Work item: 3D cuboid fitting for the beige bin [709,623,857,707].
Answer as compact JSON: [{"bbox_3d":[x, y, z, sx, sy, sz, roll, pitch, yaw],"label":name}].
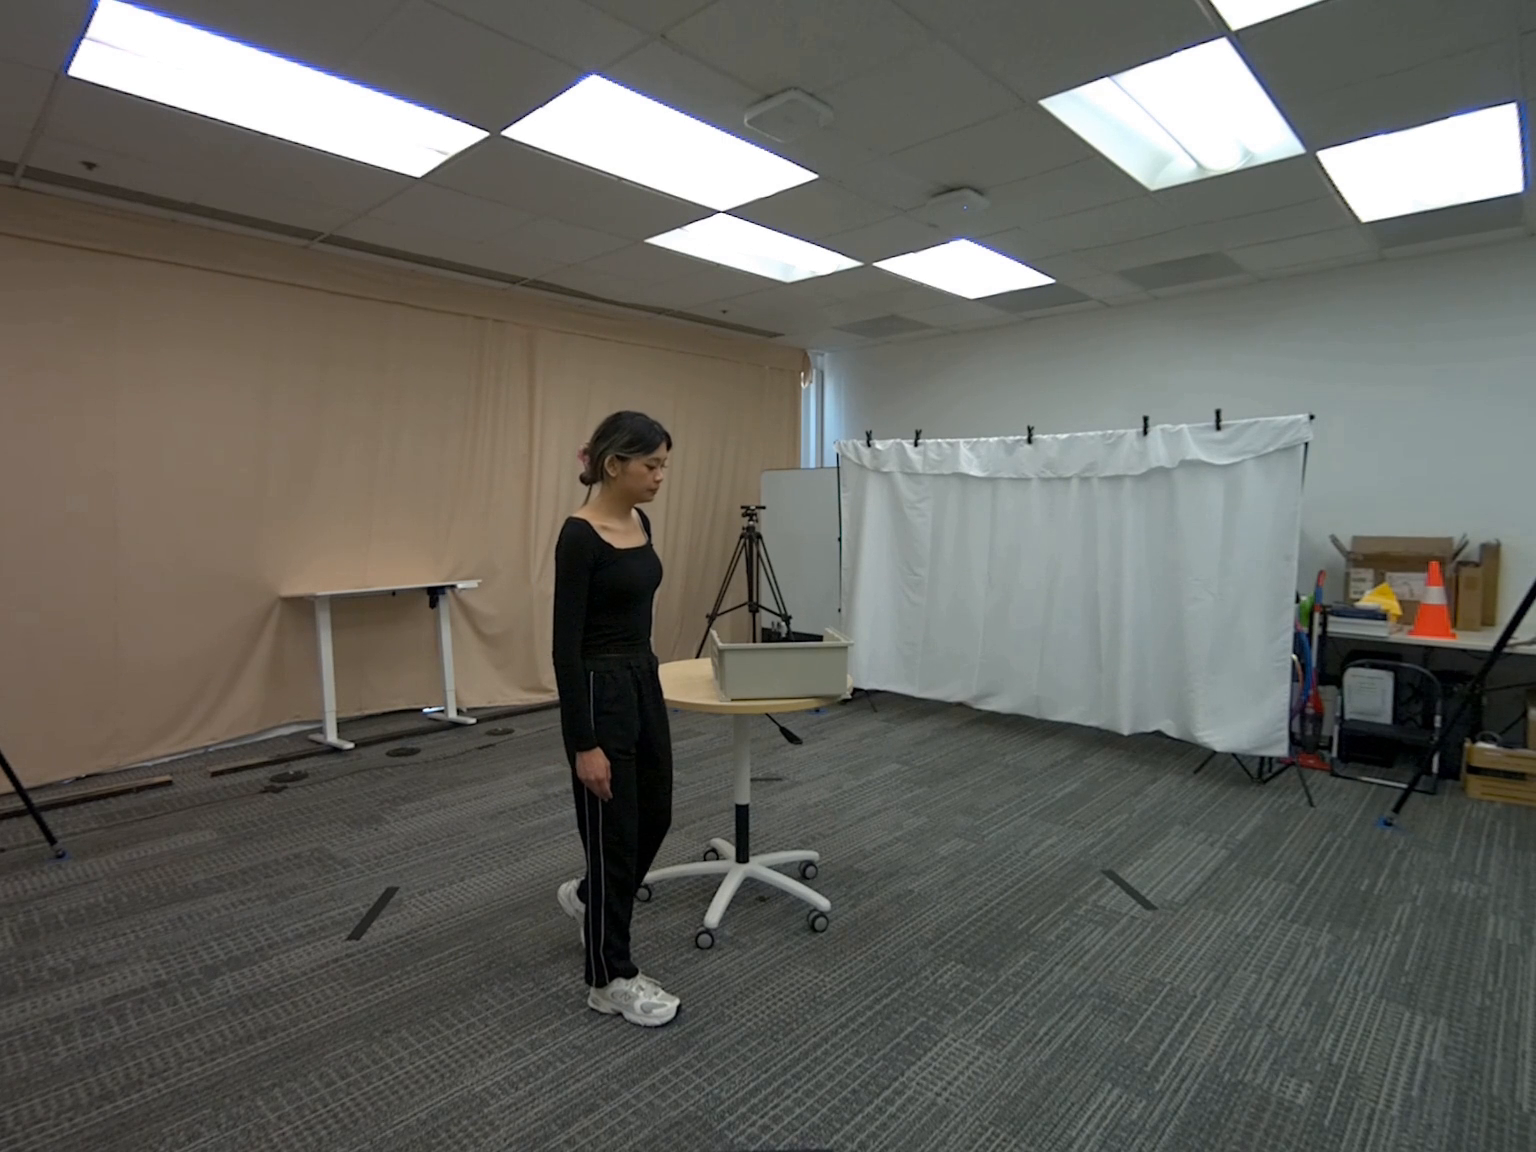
[{"bbox_3d":[0.031,0.281,2.773,0.420,0.188,0.381,-1,5,-7],"label":"beige bin"}]
